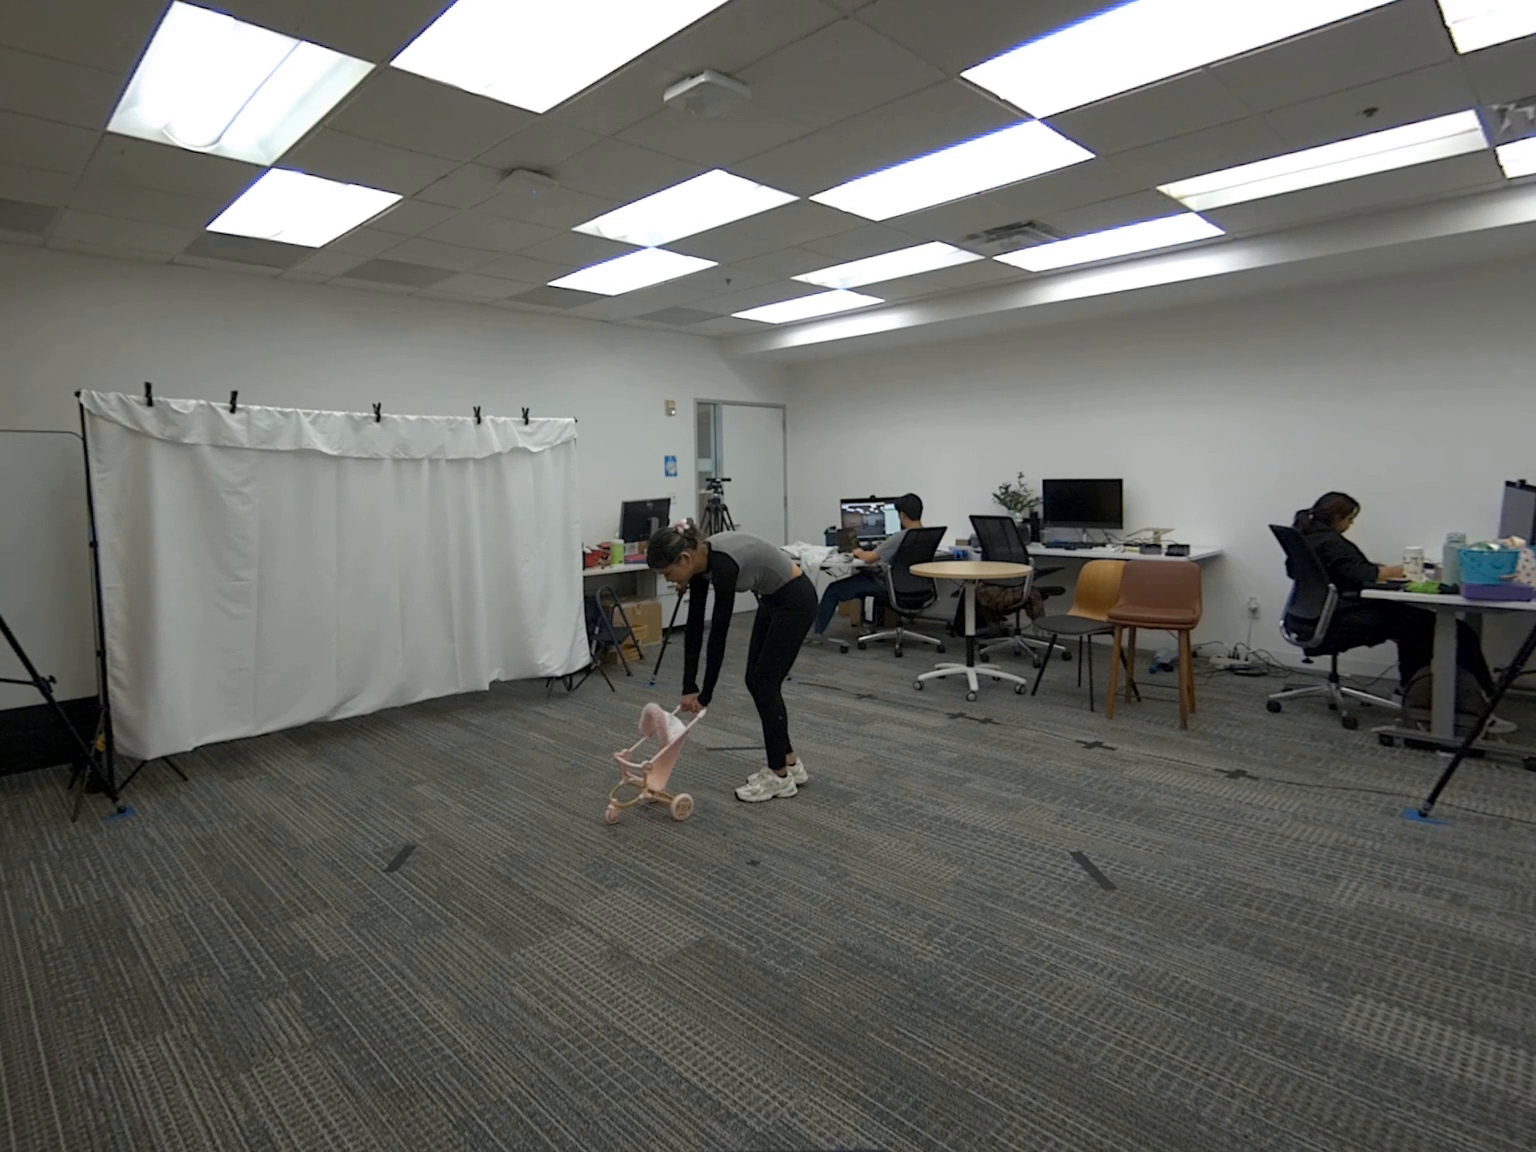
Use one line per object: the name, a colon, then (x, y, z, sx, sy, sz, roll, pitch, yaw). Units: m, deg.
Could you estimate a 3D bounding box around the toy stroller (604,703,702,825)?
toy stroller: (-0.481, 0.768, 3.565, 0.331, 0.536, 0.289, 13, -4, -30)
